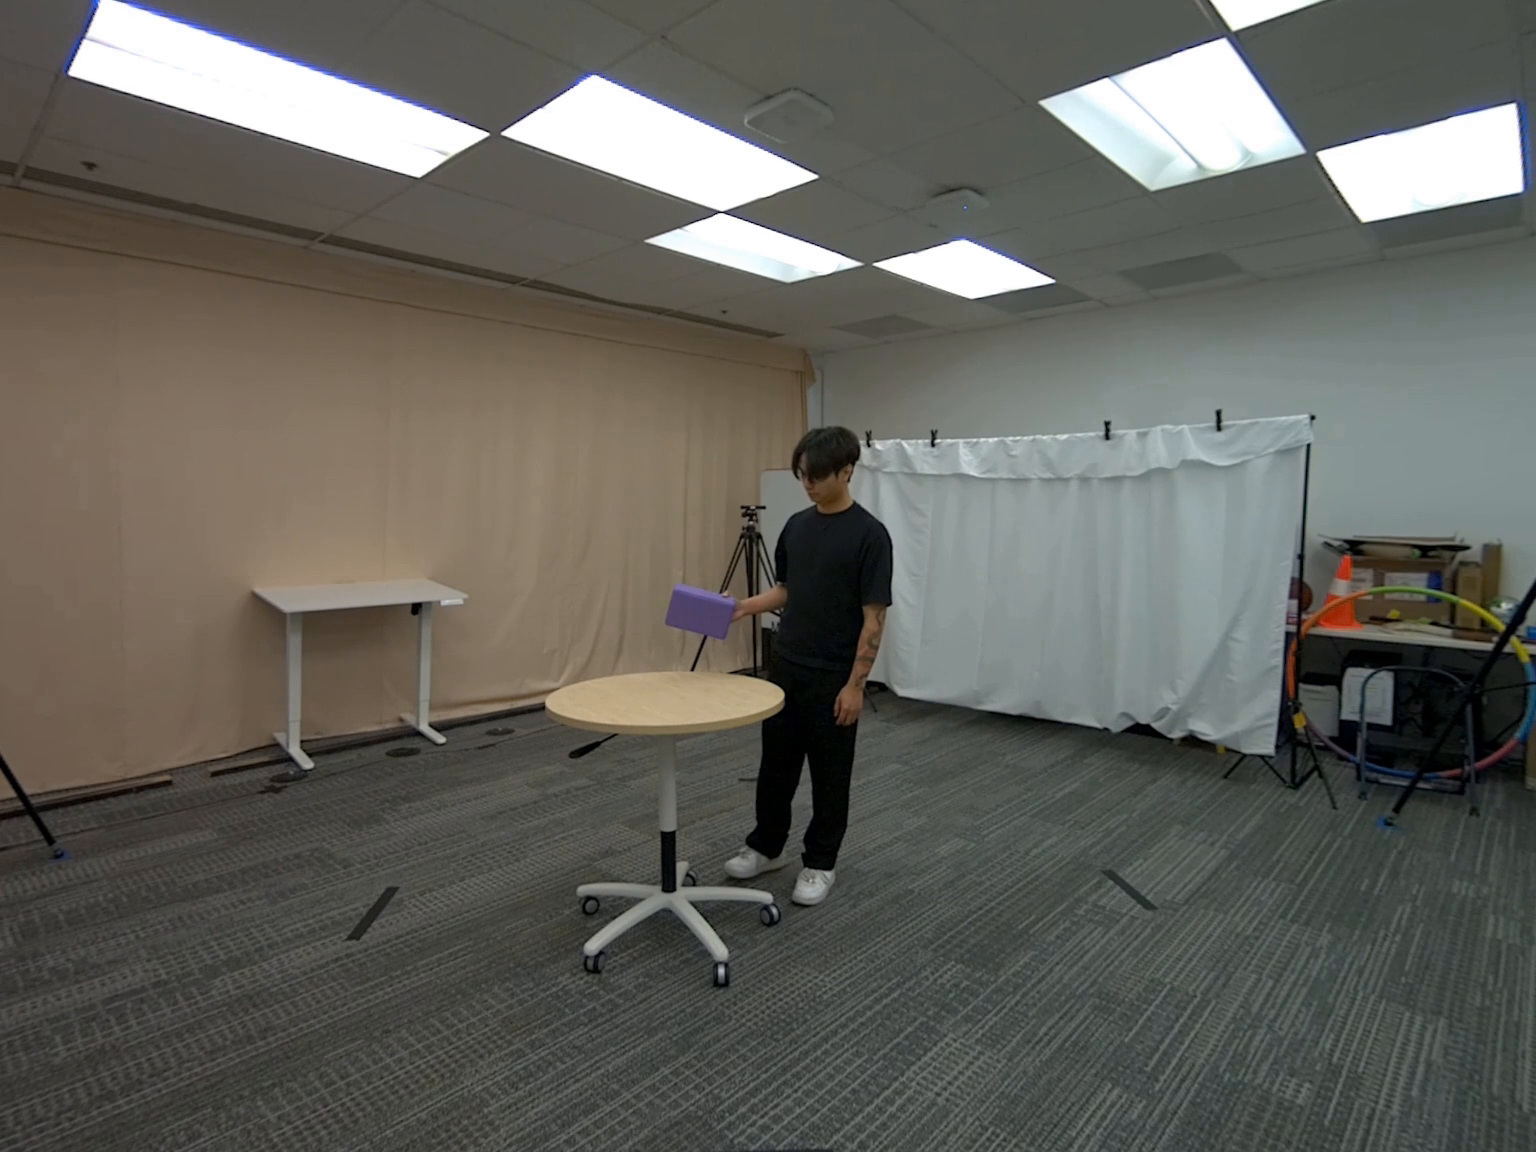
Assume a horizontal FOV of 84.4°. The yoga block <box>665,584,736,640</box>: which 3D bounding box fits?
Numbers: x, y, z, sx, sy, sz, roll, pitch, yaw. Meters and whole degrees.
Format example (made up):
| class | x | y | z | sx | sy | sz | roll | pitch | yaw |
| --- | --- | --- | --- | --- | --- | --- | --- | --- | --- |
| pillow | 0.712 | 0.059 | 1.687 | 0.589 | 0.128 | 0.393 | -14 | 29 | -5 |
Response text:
| class | x | y | z | sx | sy | sz | roll | pitch | yaw |
| --- | --- | --- | --- | --- | --- | --- | --- | --- | --- |
| yoga block | -0.245 | 0.126 | 3.063 | 0.230 | 0.148 | 0.077 | 12 | 21 | 2 |
